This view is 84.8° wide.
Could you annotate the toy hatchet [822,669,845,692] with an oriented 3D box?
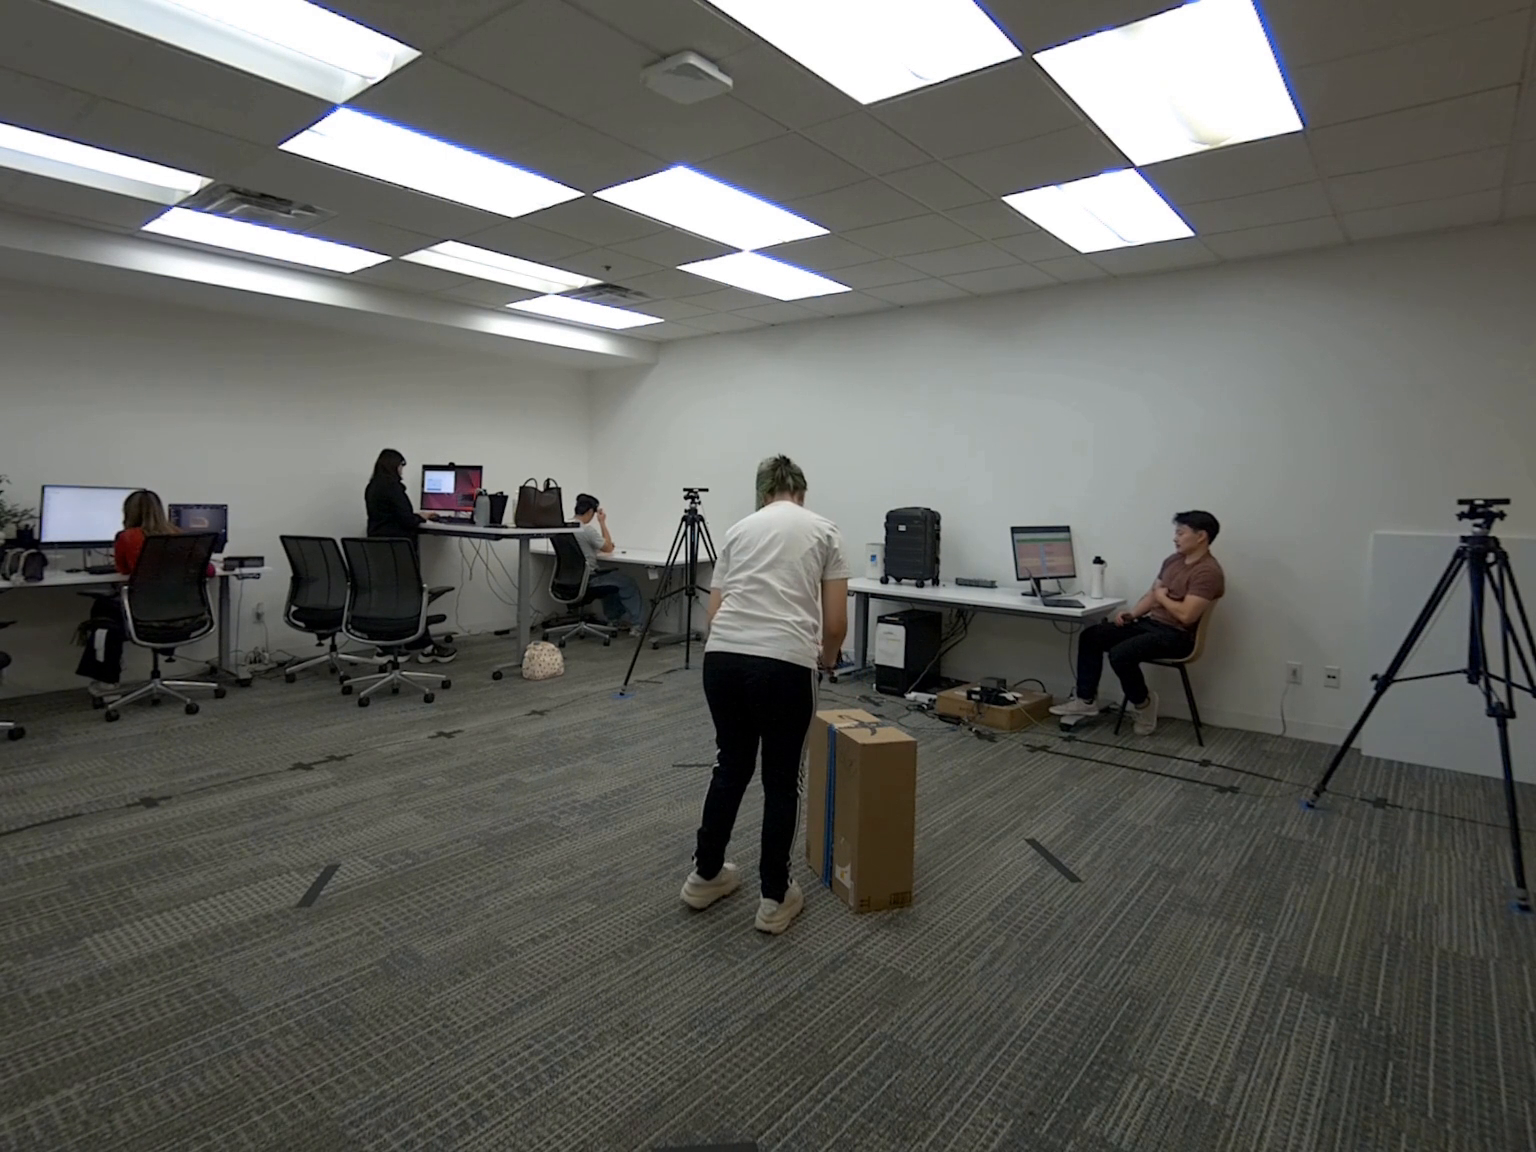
[{"bbox_3d":[0.185,0.286,3.080,0.029,0.126,0.281,-36,39,7],"label":"toy hatchet"}]
